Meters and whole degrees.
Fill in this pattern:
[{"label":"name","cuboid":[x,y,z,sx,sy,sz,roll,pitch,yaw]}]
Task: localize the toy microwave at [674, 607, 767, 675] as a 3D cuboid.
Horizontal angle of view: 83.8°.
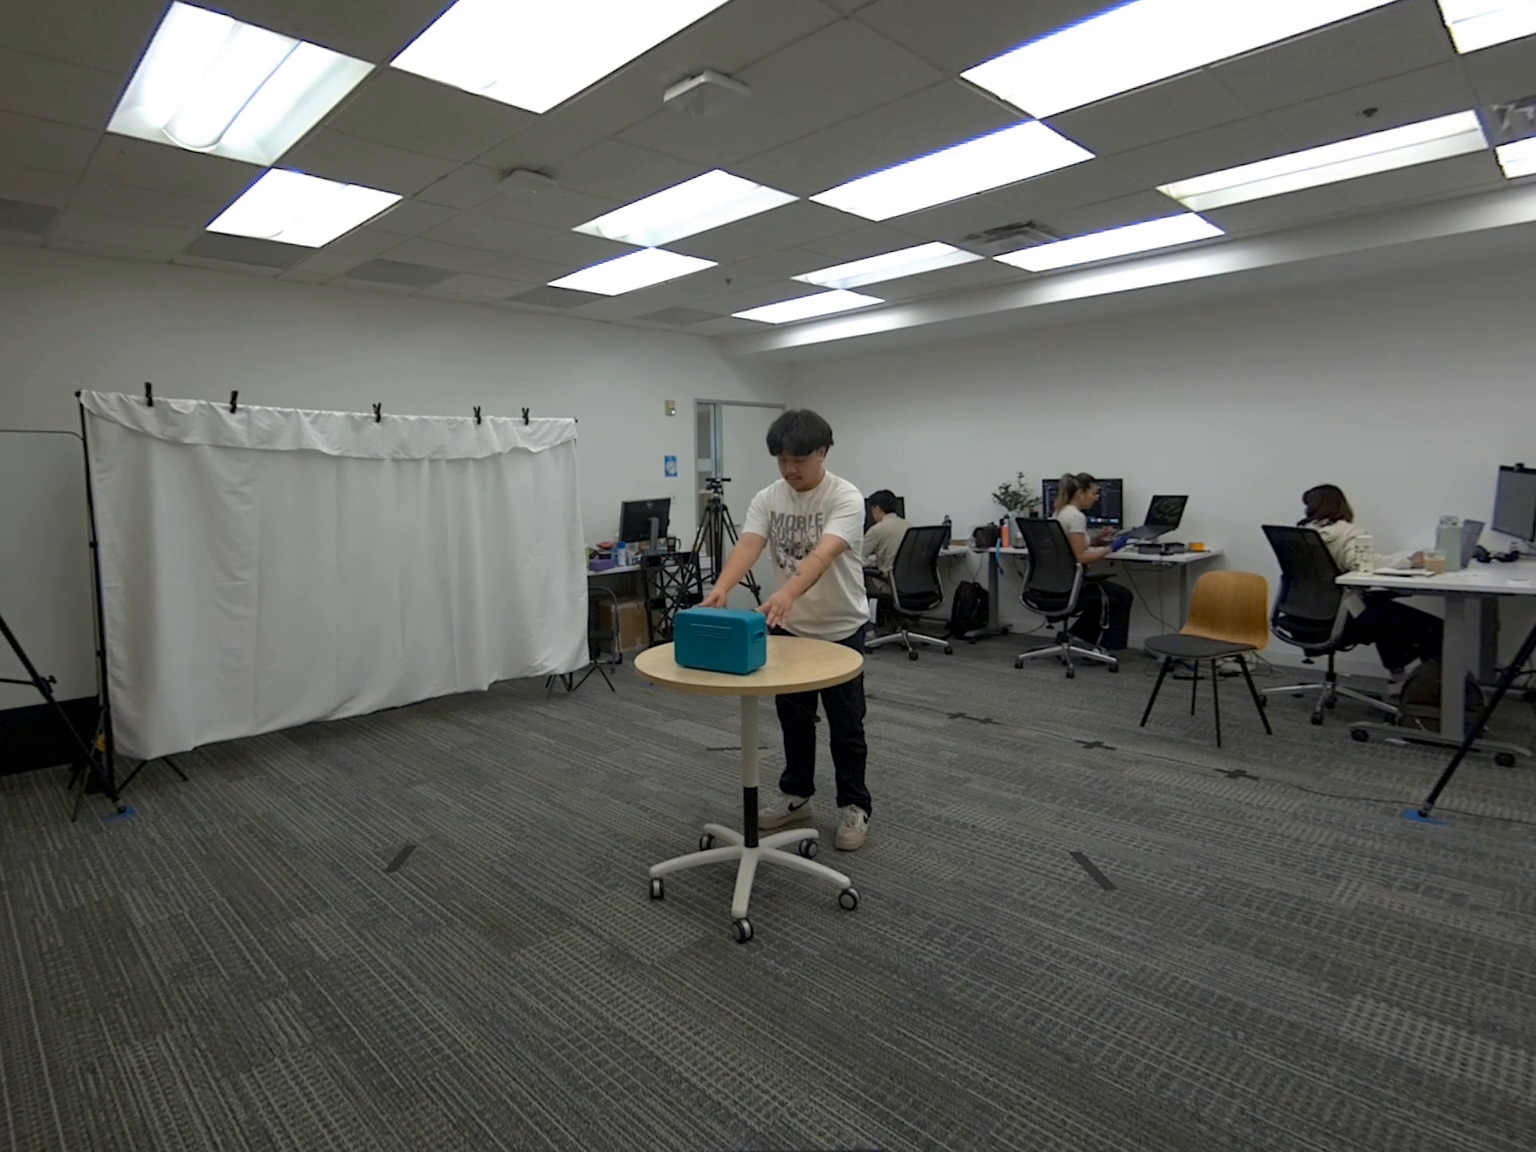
[{"label":"toy microwave","cuboid":[-0.145,0.203,2.738,0.294,0.183,0.149,3,7,32]}]
